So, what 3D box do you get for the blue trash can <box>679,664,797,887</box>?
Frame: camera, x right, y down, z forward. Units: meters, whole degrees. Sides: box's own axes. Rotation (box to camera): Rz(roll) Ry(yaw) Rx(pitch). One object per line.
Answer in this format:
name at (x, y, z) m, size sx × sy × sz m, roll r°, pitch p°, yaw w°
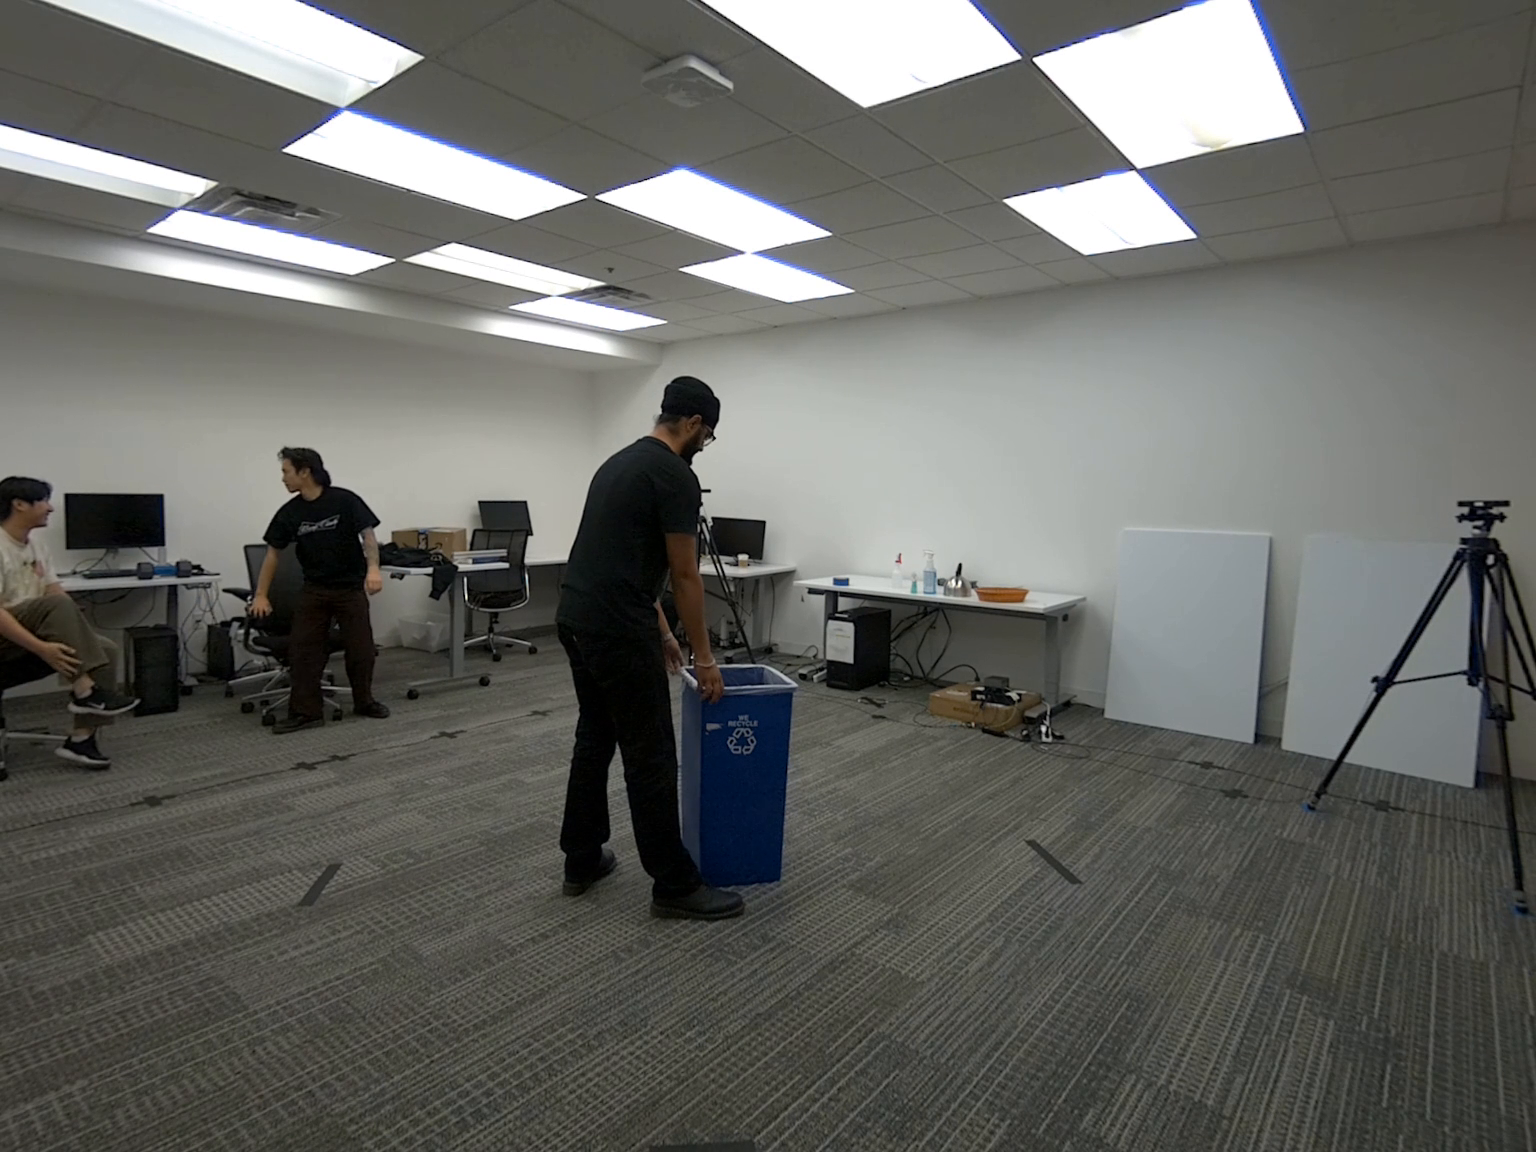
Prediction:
blue trash can at (-0.143, 0.717, 3.113) m, size 0.368 × 0.712 × 0.386 m, roll 1°, pitch 3°, yaw -17°
